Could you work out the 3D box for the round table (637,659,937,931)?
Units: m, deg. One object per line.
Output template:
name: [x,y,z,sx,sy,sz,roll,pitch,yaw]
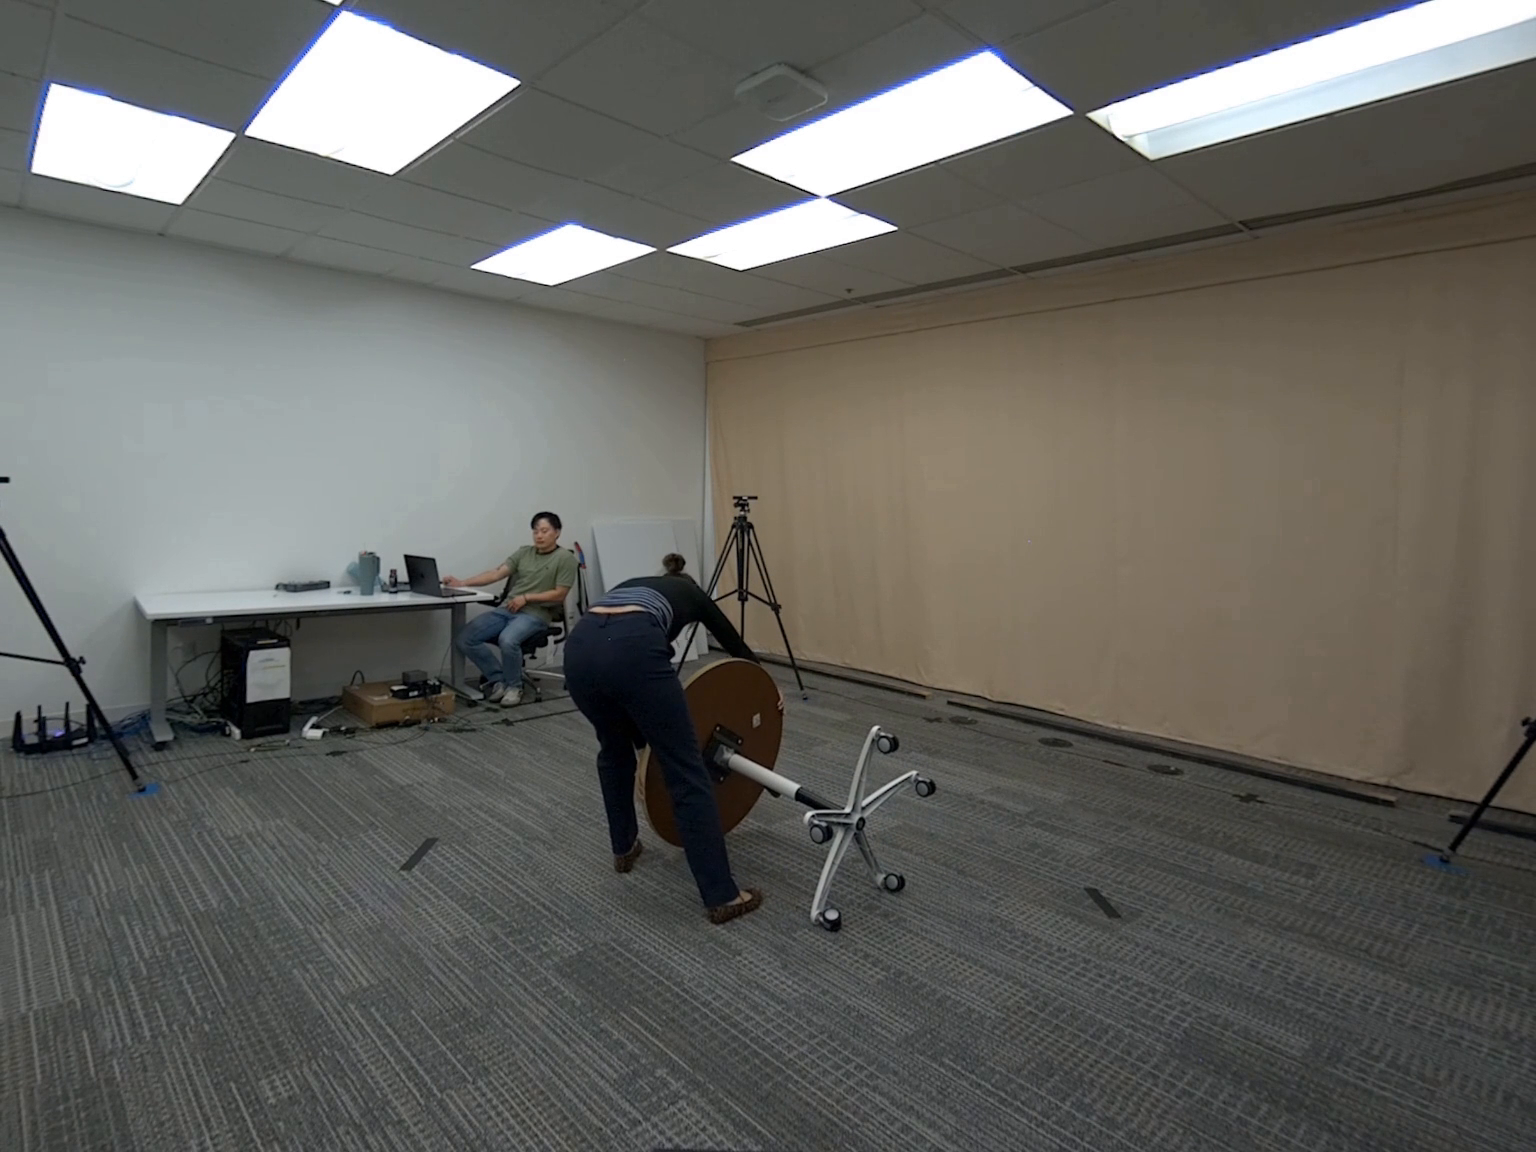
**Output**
round table: [0.075,0.781,3.068,0.816,0.759,0.747,15,12,41]
